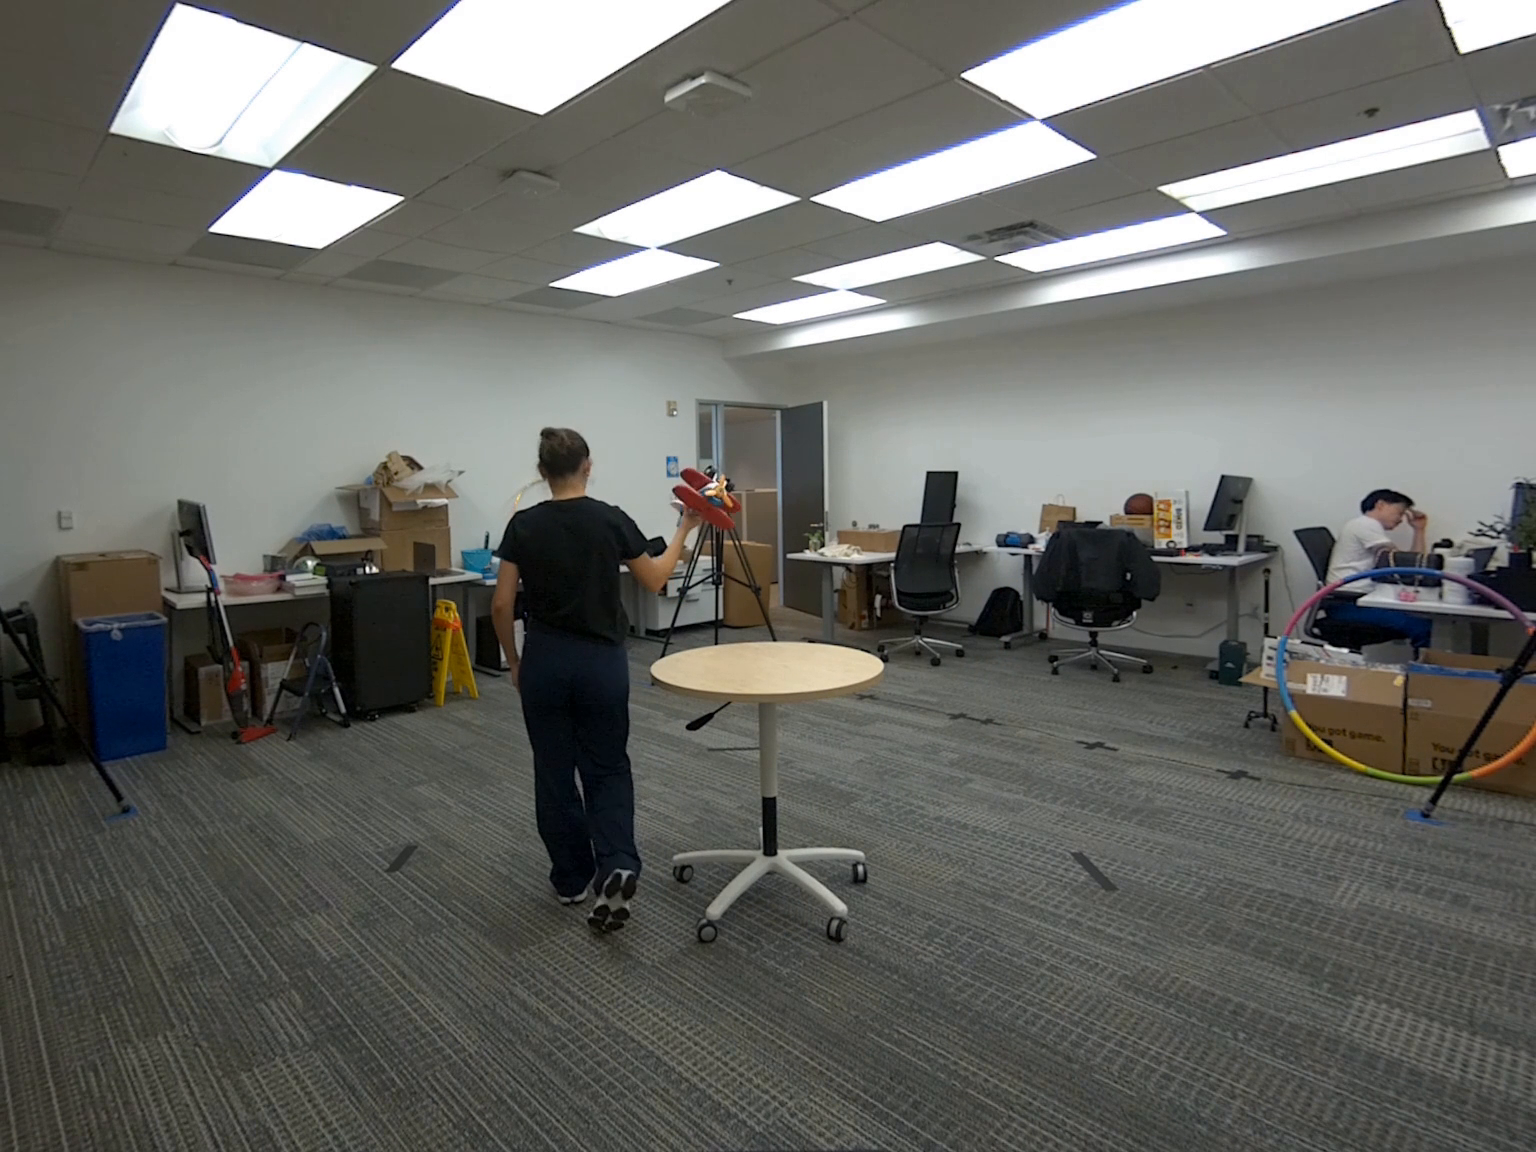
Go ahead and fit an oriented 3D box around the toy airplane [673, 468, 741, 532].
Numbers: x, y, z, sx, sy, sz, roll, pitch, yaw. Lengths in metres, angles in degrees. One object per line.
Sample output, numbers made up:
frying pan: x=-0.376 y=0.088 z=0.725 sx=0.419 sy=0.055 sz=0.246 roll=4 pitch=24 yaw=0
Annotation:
toy airplane: x=-0.228 y=-0.255 z=3.062 sx=0.251 sy=0.255 sz=0.159 roll=16 pitch=47 yaw=-2
